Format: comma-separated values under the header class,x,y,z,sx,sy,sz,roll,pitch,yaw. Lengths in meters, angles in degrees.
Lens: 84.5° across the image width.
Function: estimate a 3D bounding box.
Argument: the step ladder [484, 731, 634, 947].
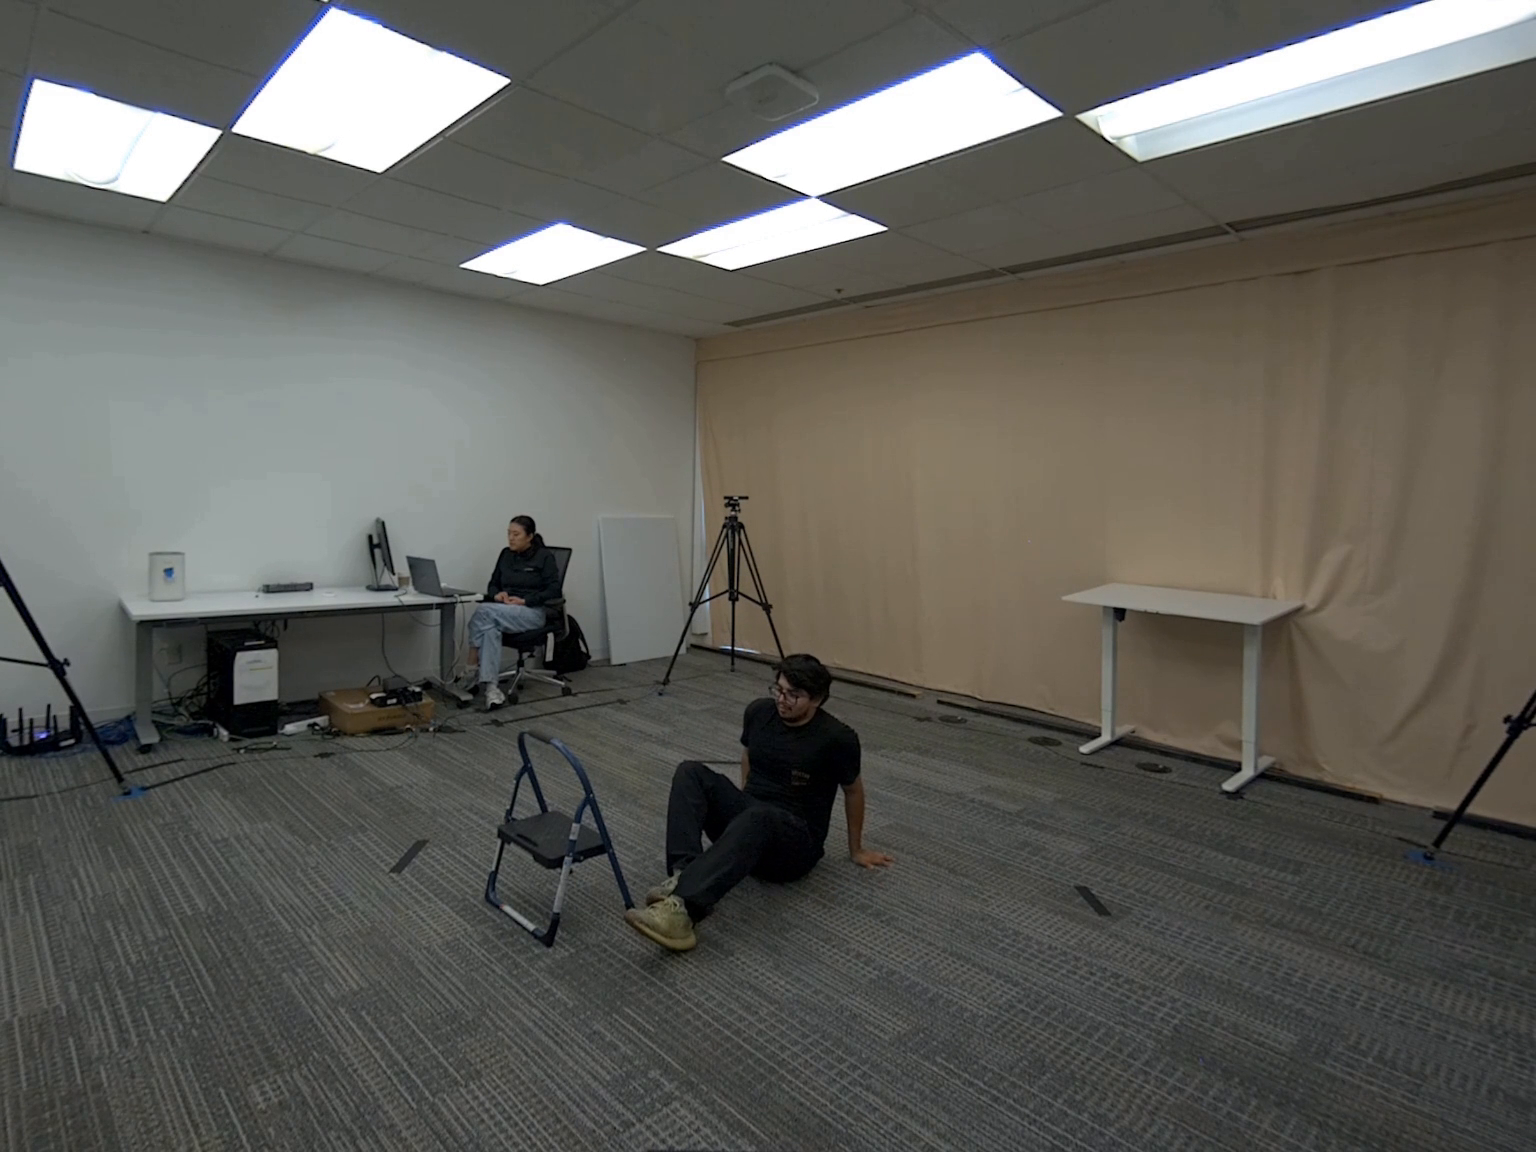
class,x,y,z,sx,sy,sz,roll,pitch,yaw
step ladder,-0.700,0.814,2.824,0.441,0.605,0.341,5,5,45
